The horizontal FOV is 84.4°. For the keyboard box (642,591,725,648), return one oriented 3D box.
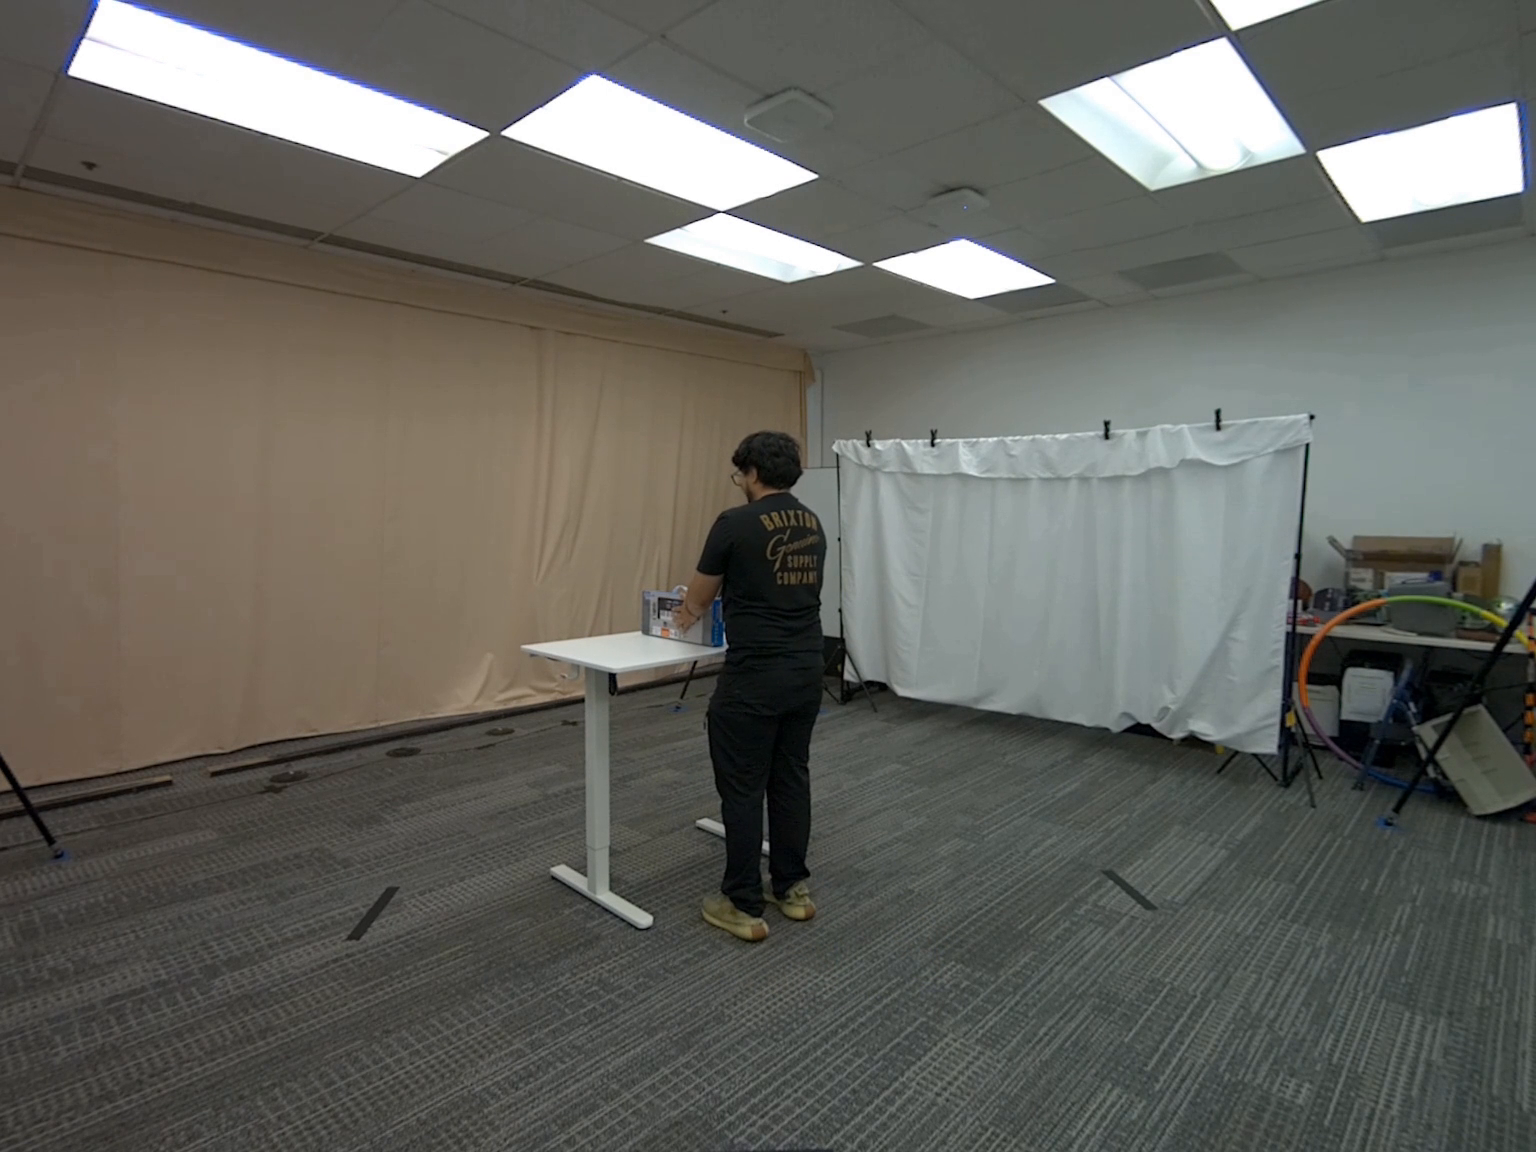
[{"bbox_3d":[-0.332,0.160,3.212,0.057,0.176,0.451,0,3,-43],"label":"keyboard box"}]
